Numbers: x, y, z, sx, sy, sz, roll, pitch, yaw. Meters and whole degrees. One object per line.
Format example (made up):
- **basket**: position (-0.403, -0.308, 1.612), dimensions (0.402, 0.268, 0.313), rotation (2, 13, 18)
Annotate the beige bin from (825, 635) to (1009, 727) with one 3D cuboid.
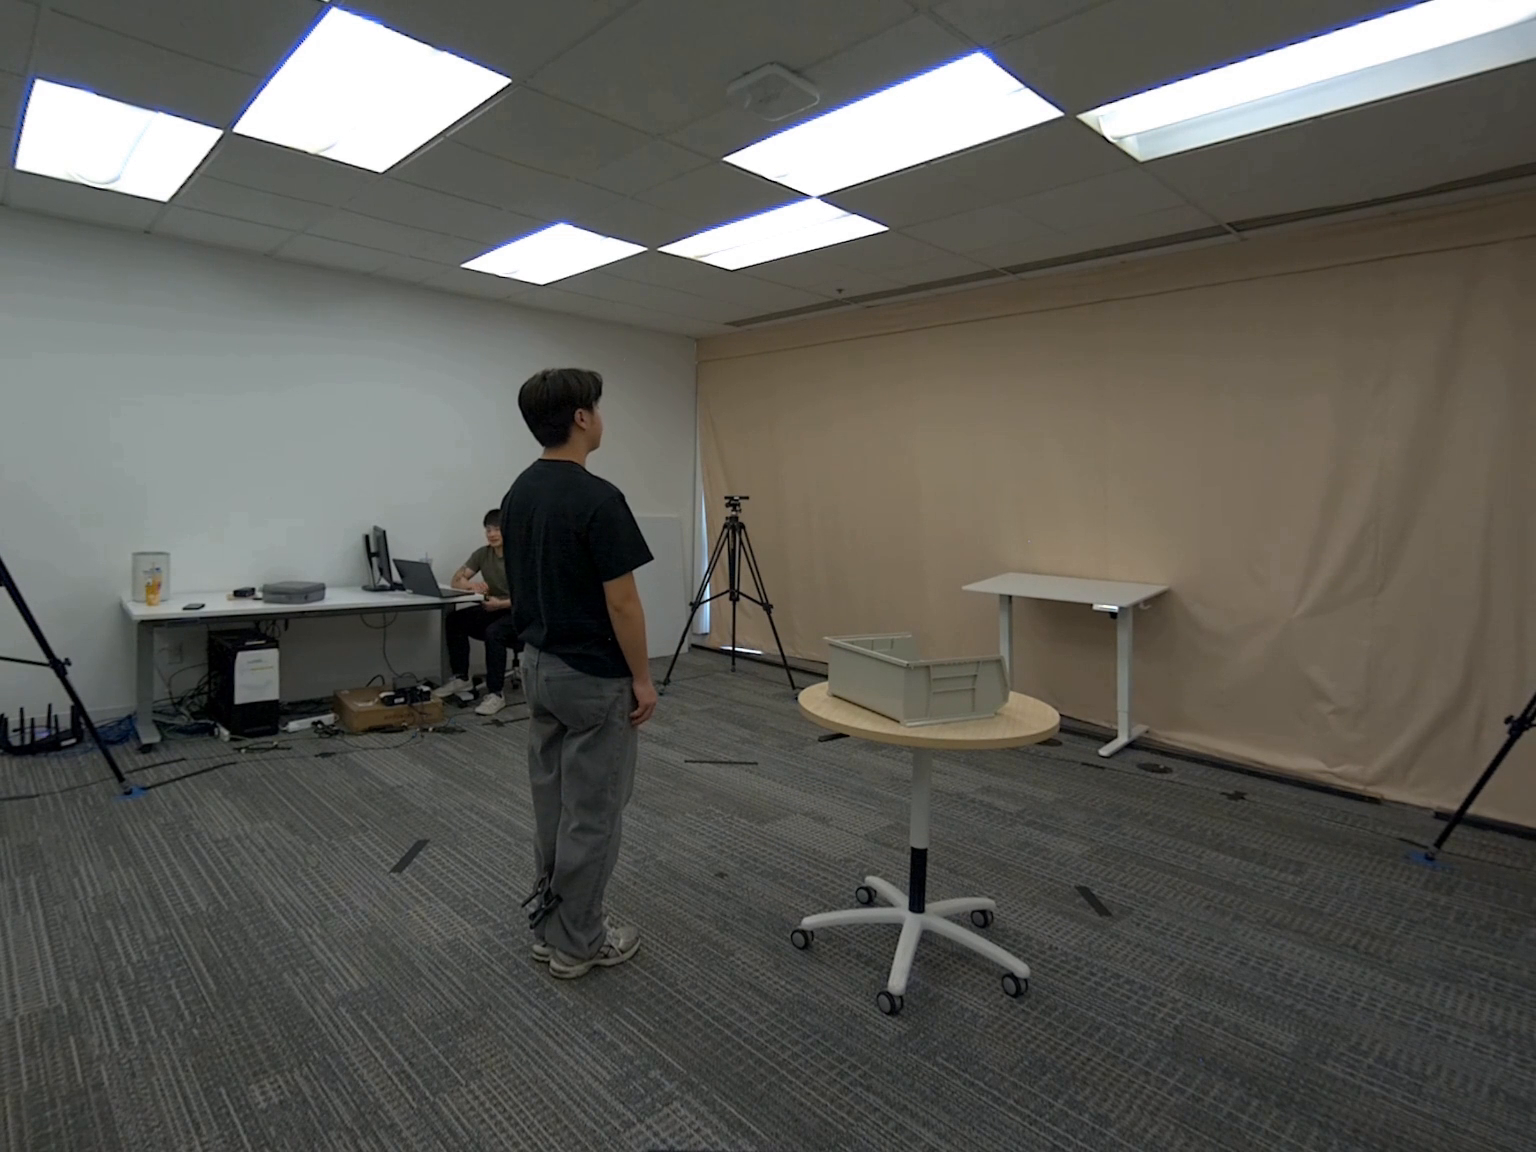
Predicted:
- **beige bin**: position (0.431, 0.300, 2.523), dimensions (0.370, 0.188, 0.431), rotation (-2, 6, -27)
